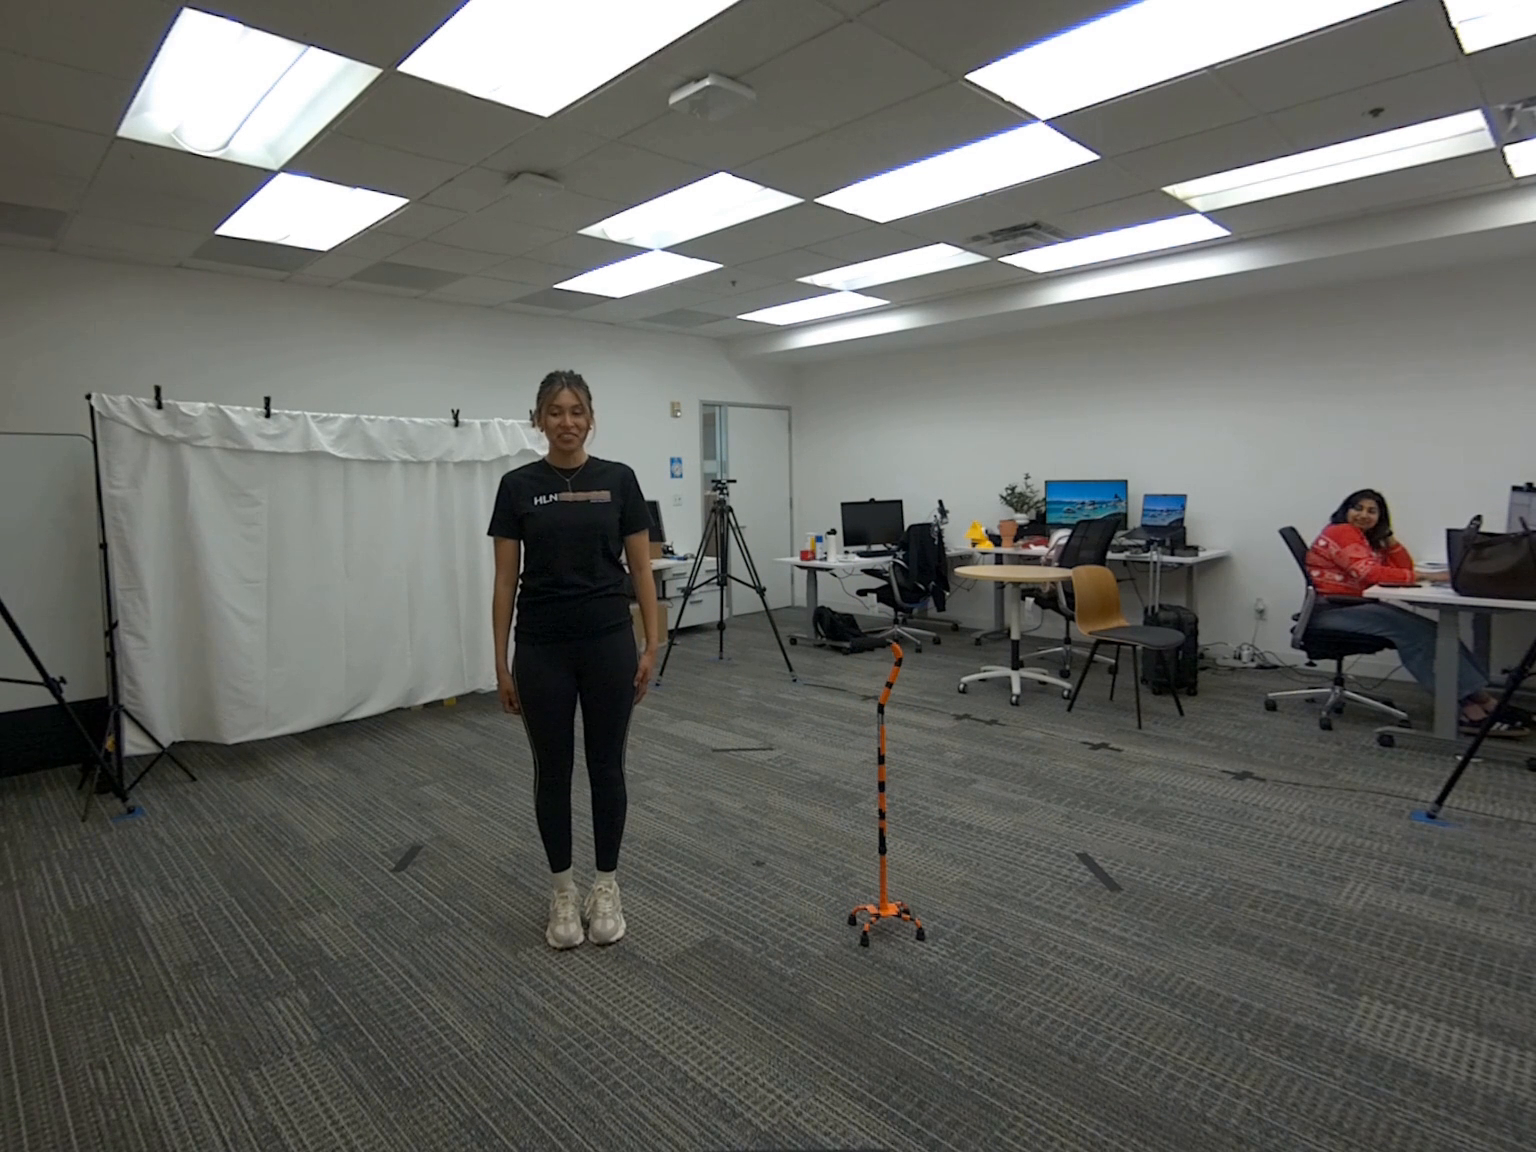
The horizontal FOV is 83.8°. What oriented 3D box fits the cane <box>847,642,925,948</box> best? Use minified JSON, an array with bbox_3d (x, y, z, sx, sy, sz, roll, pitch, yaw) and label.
[{"bbox_3d":[0.364,0.643,2.601,0.204,0.905,0.153,-1,3,-10],"label":"cane"}]
